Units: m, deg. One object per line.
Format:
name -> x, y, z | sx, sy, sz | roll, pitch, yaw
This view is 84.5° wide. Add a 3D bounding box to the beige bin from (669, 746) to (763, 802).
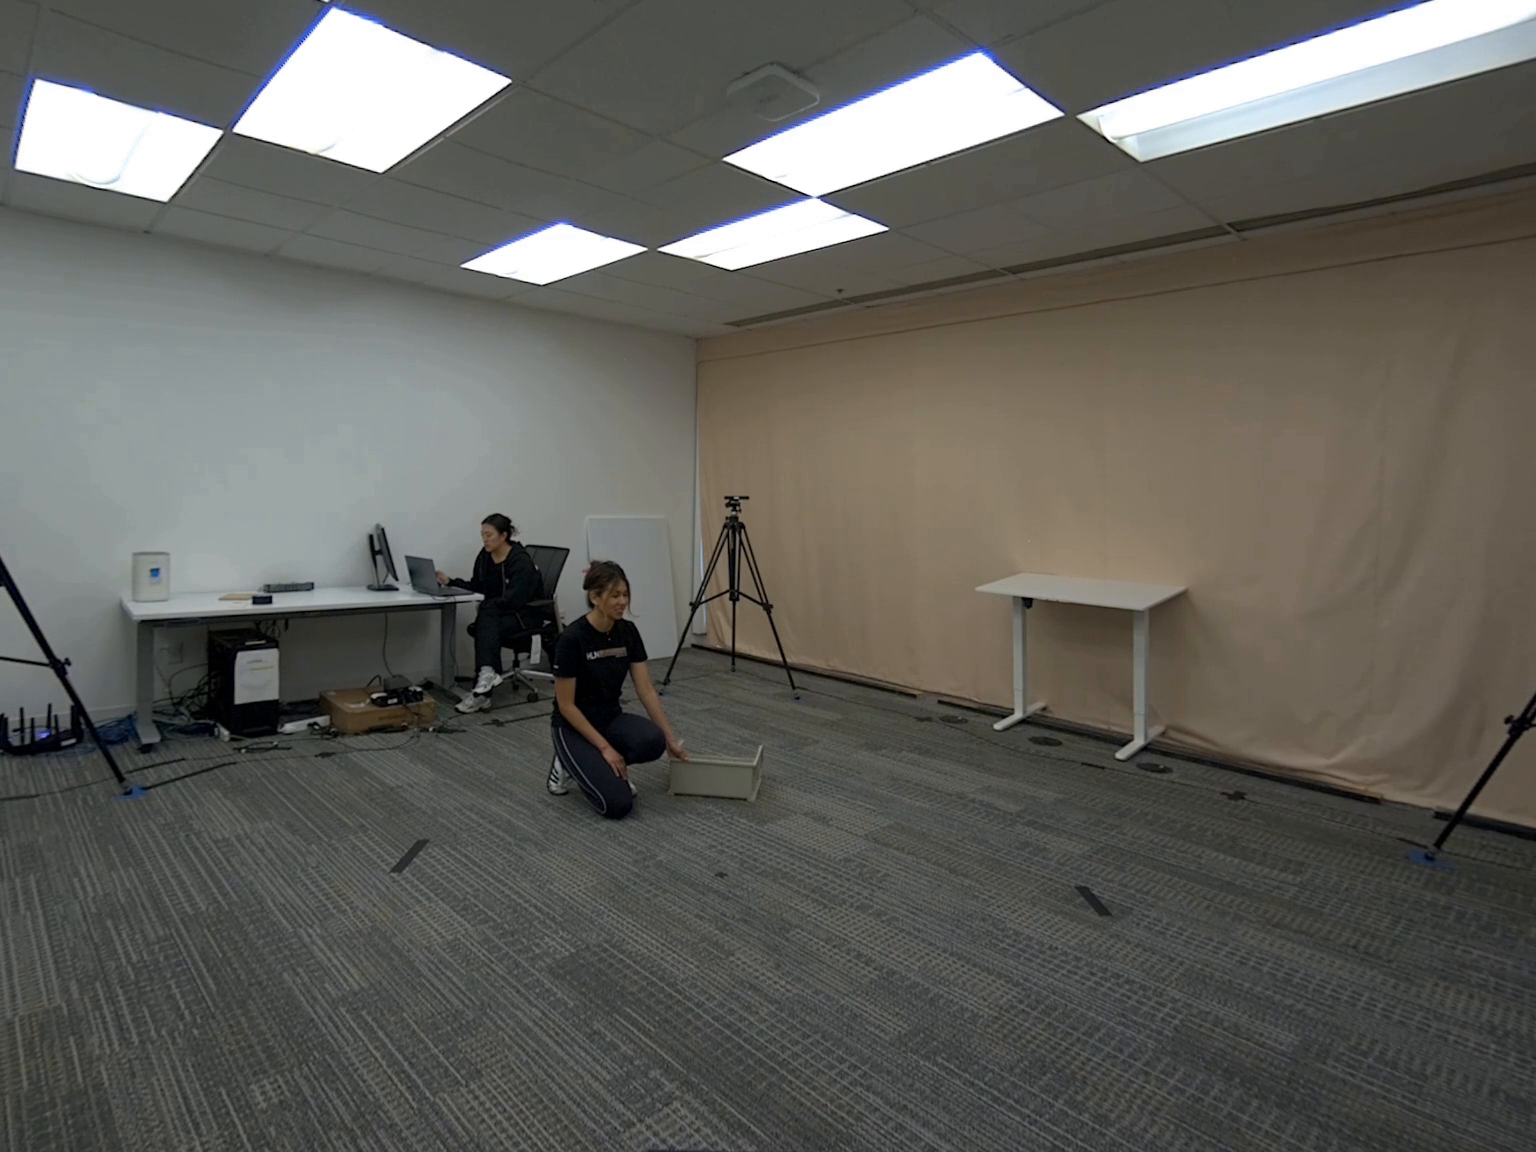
beige bin -> -0.258, 0.927, 4.084 | 0.425, 0.188, 0.376 | 2, 6, 6
